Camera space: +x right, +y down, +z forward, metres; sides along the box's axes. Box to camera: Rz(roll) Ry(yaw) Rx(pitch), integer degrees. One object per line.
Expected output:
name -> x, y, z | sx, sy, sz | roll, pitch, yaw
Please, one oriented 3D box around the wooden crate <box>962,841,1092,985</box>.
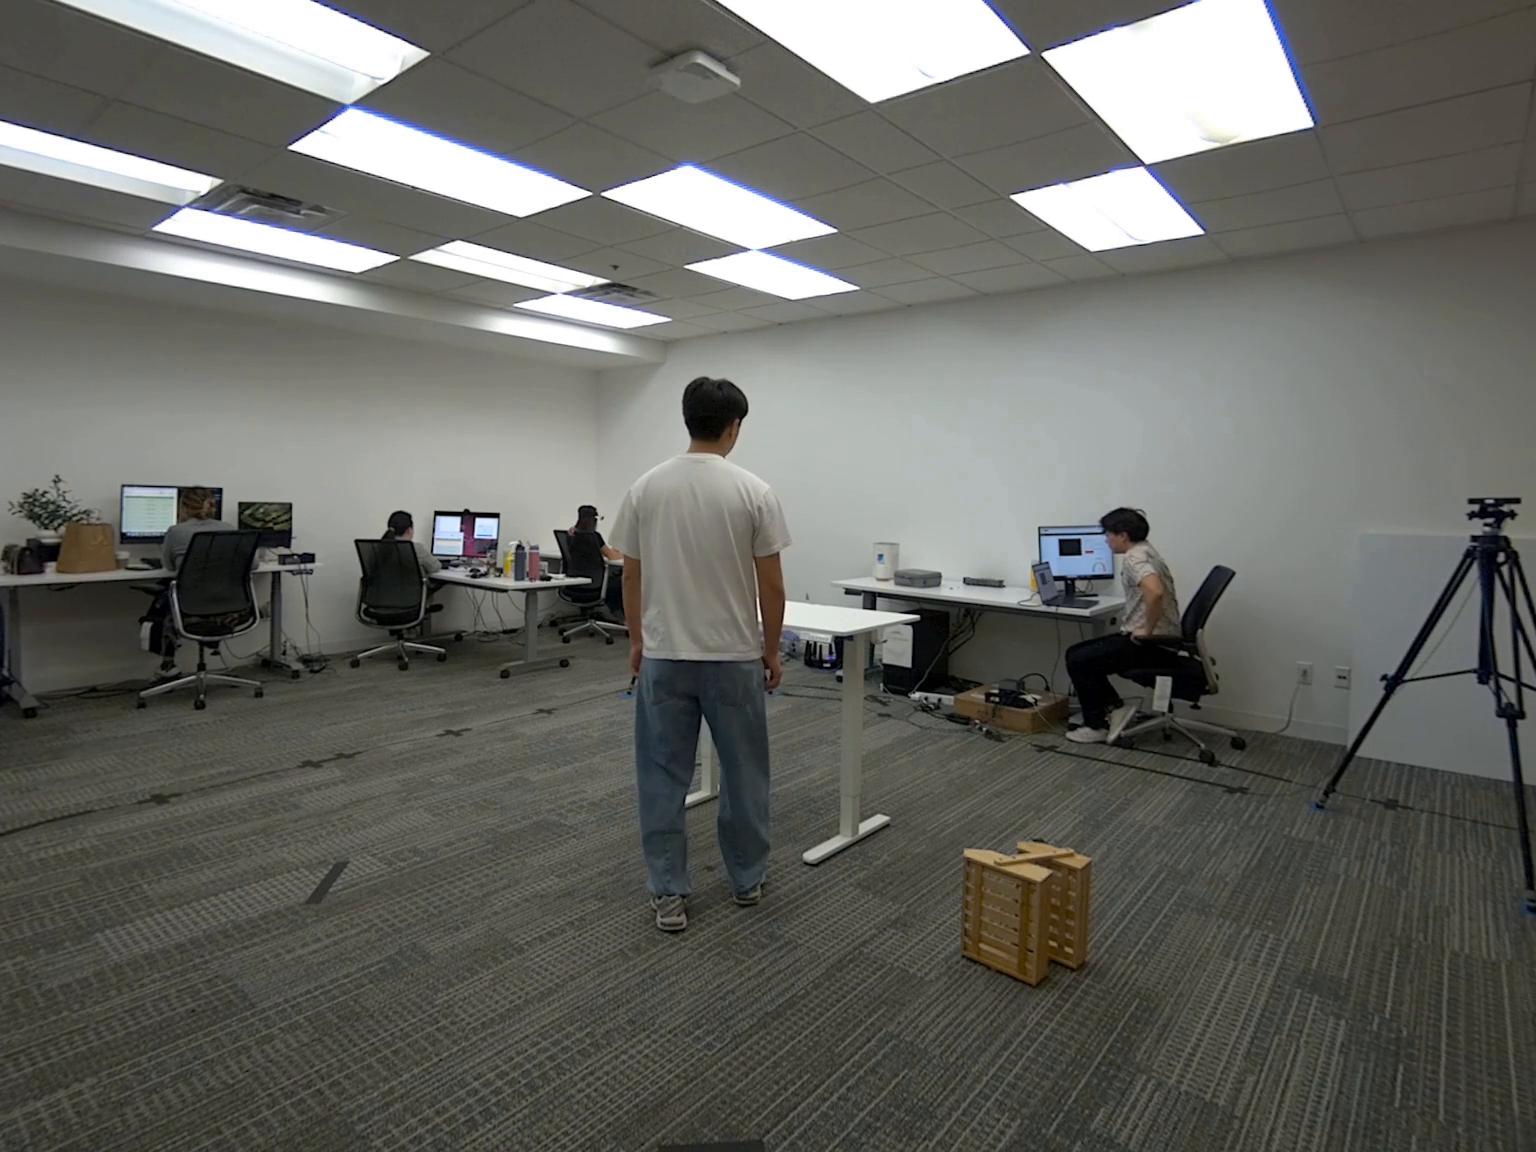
wooden crate -> 0.766, 0.981, 2.549 | 0.312, 0.323, 0.265 | 6, 7, 41
